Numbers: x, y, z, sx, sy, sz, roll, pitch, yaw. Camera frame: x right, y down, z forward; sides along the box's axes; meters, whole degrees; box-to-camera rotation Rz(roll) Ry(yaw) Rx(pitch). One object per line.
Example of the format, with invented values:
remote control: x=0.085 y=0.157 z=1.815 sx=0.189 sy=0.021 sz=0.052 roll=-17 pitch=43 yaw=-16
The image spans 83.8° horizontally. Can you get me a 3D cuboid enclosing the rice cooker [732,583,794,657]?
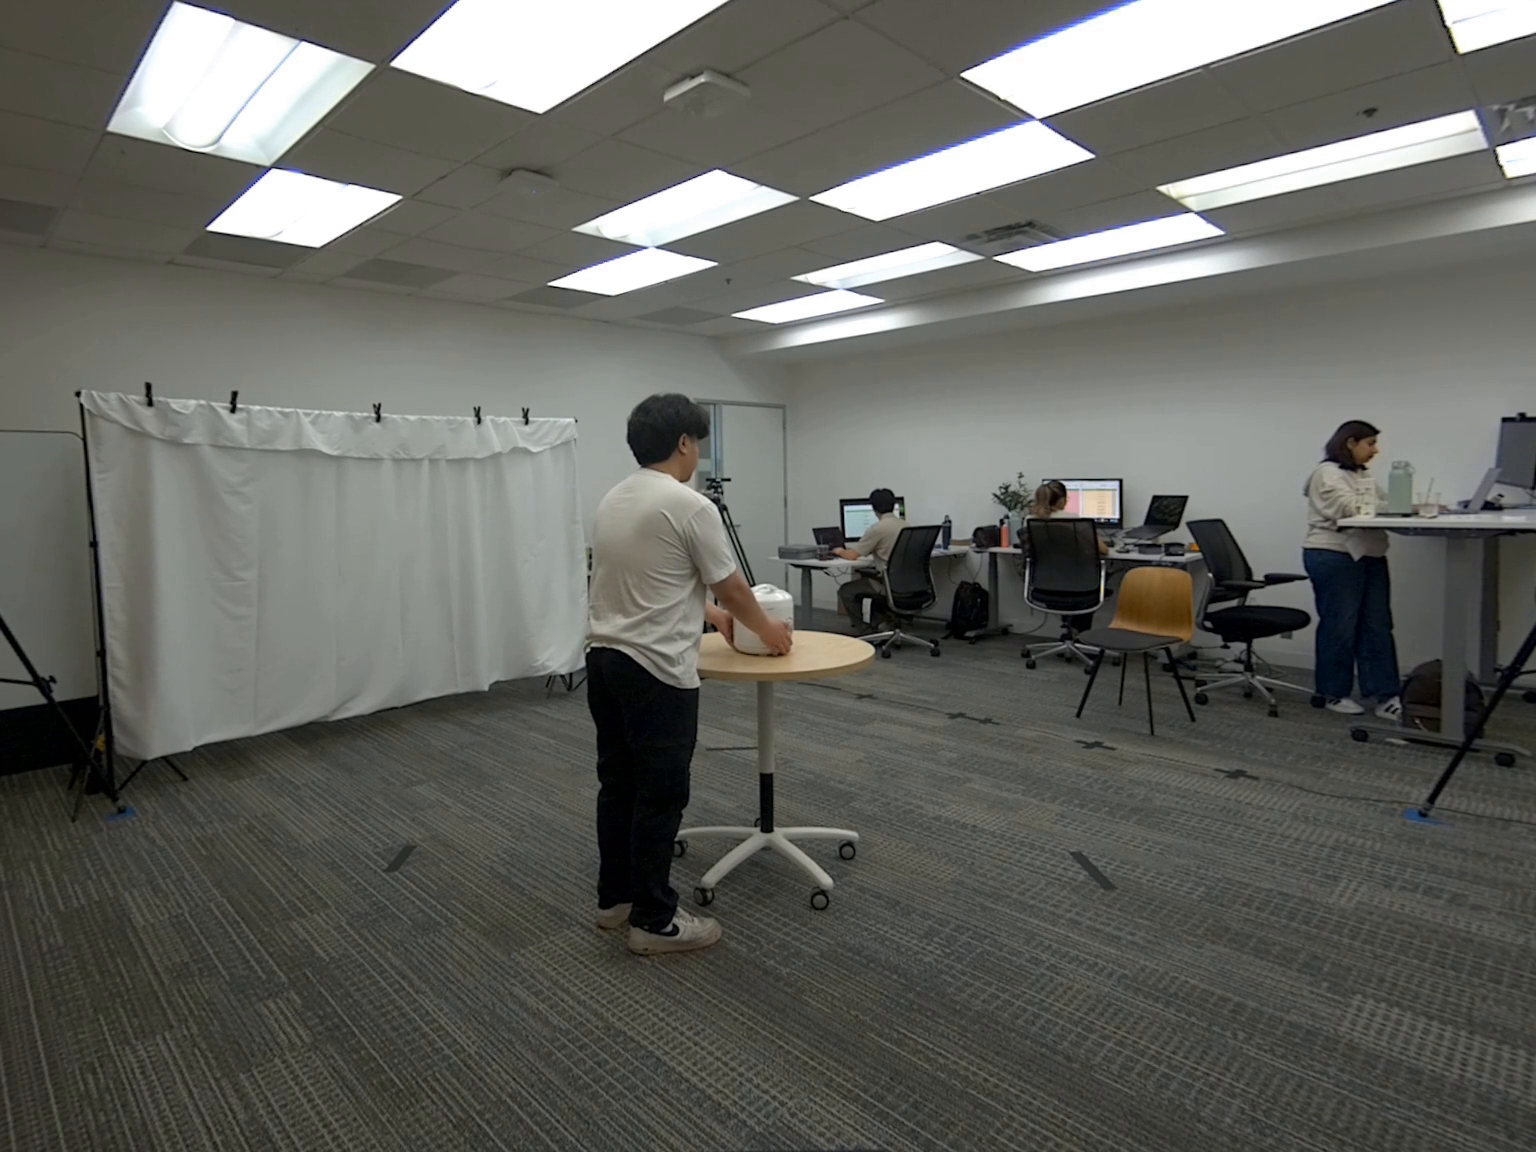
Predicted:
rice cooker: x=-0.001 y=0.144 z=2.967 sx=0.224 sy=0.232 sz=0.215 roll=2 pitch=5 yaw=36
